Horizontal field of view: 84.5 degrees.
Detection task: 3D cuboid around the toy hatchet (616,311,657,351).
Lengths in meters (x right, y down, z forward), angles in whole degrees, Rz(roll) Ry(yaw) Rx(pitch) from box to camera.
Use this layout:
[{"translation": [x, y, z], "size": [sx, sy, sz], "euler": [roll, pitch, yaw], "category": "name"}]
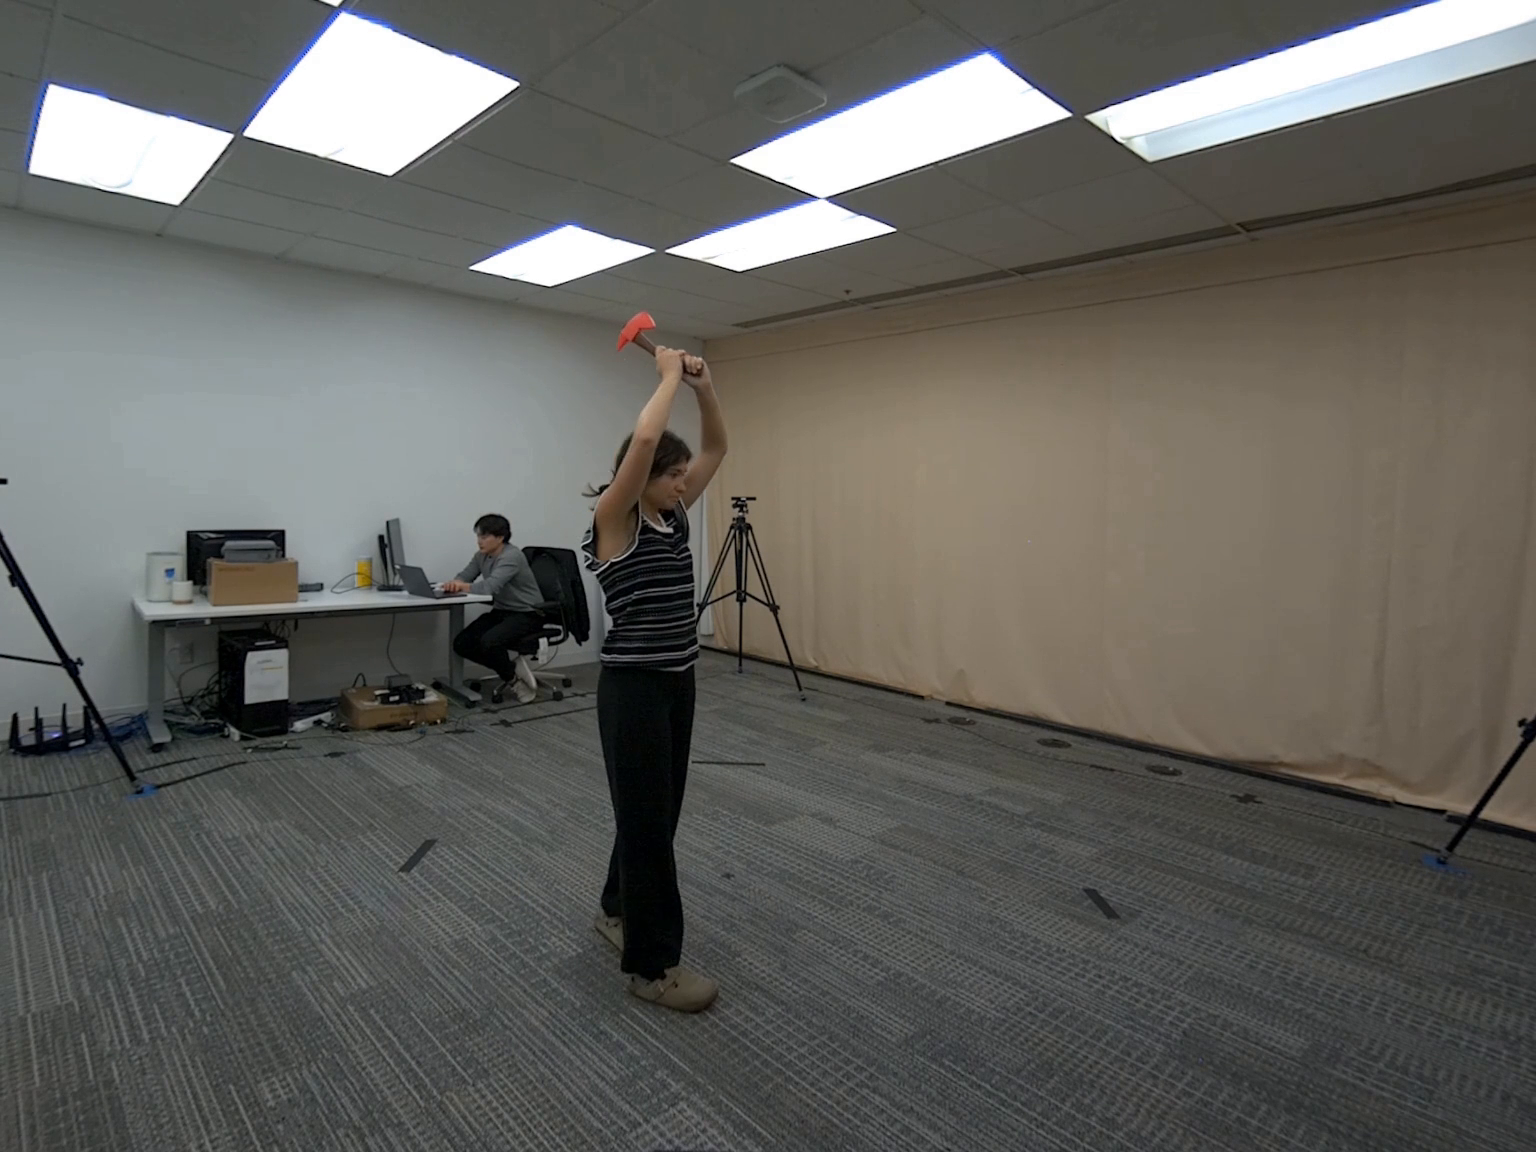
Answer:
[{"translation": [-0.300, -0.663, 2.370], "size": [0.272, 0.131, 0.029], "euler": [19, 3, 9], "category": "toy hatchet"}]
